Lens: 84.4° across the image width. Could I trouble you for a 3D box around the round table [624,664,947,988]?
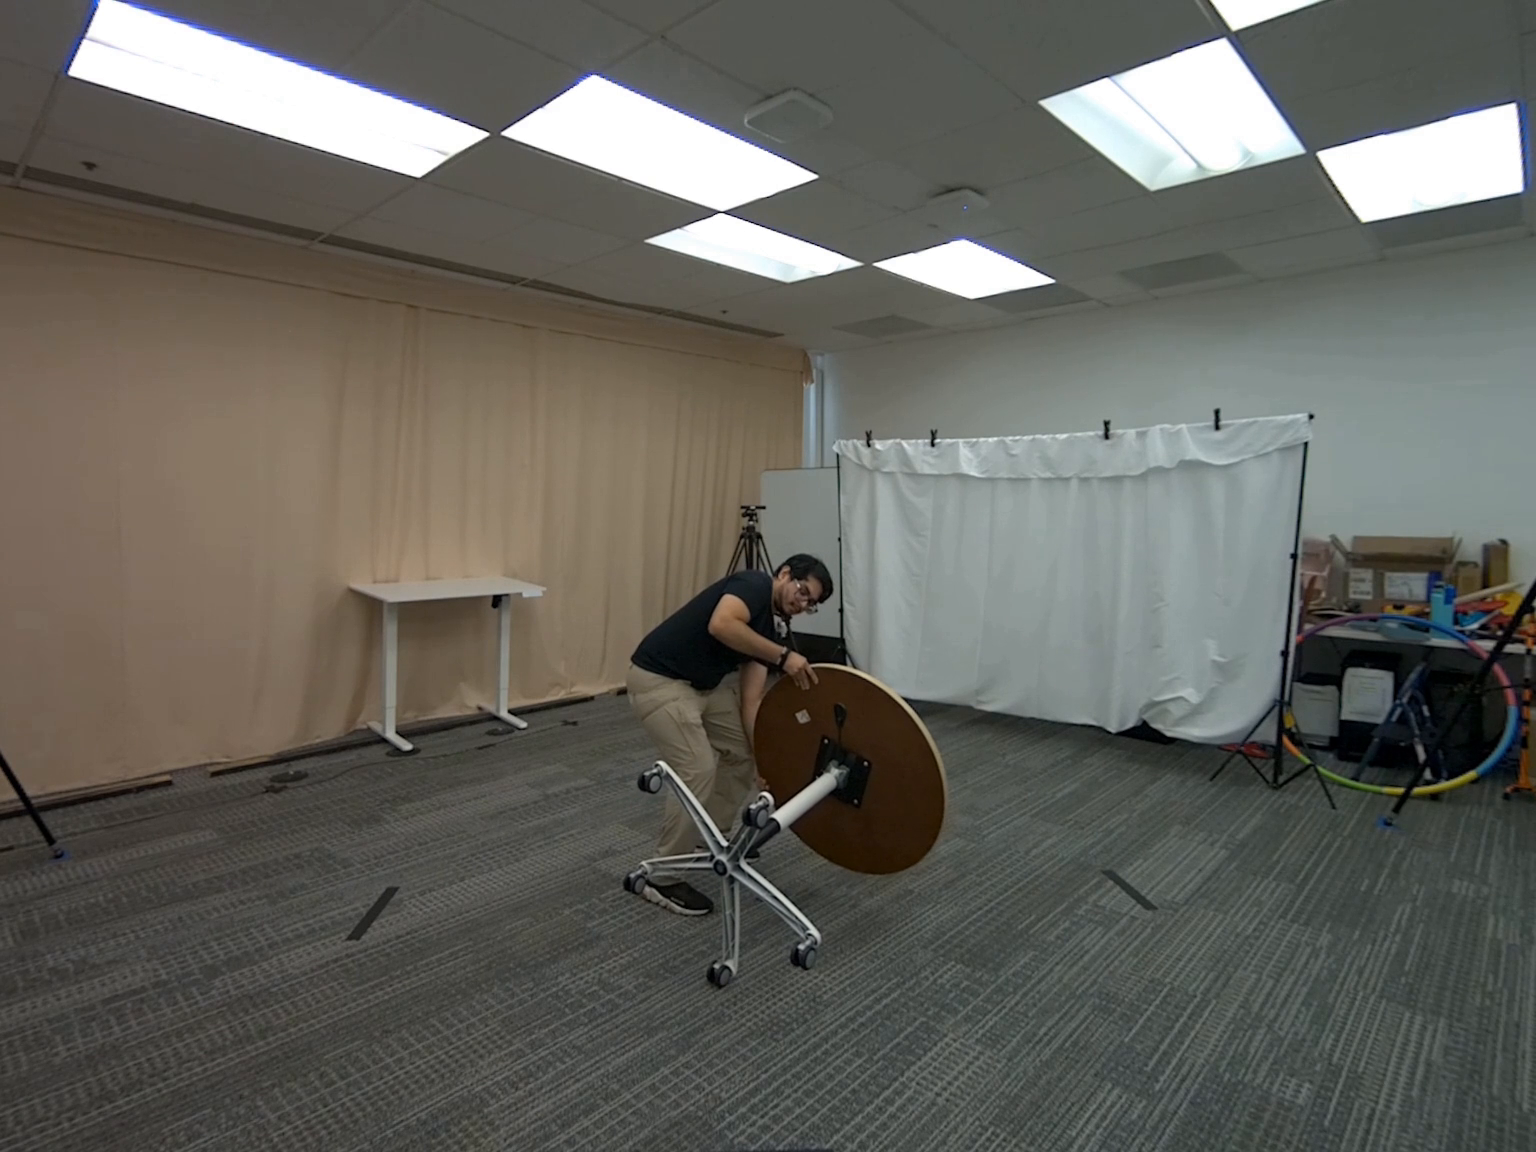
[{"bbox_3d":[0.049,0.760,2.657,0.810,0.779,0.768,3,14,37],"label":"round table"}]
